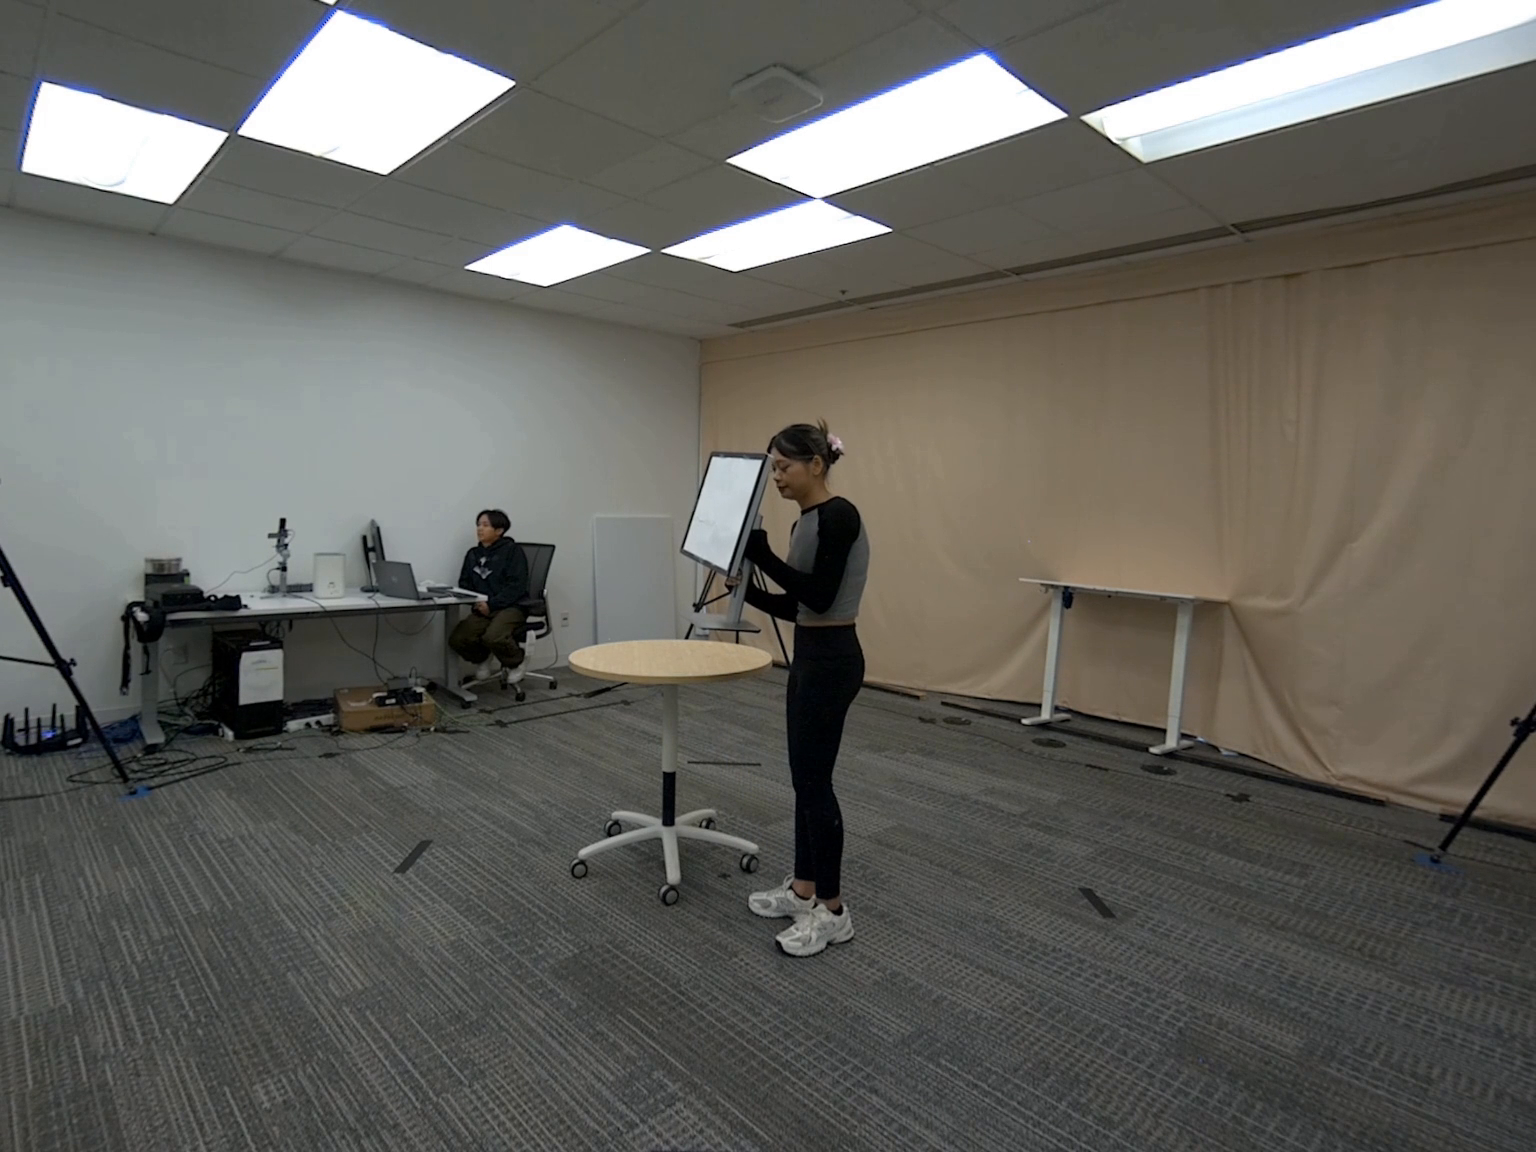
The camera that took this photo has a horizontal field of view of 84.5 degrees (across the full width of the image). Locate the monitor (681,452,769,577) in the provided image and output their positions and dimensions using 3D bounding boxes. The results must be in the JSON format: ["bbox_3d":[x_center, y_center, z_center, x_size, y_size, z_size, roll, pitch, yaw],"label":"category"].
[{"bbox_3d":[-0.125,-0.111,2.634,0.184,0.521,0.550,4,6,-22],"label":"monitor"}]
